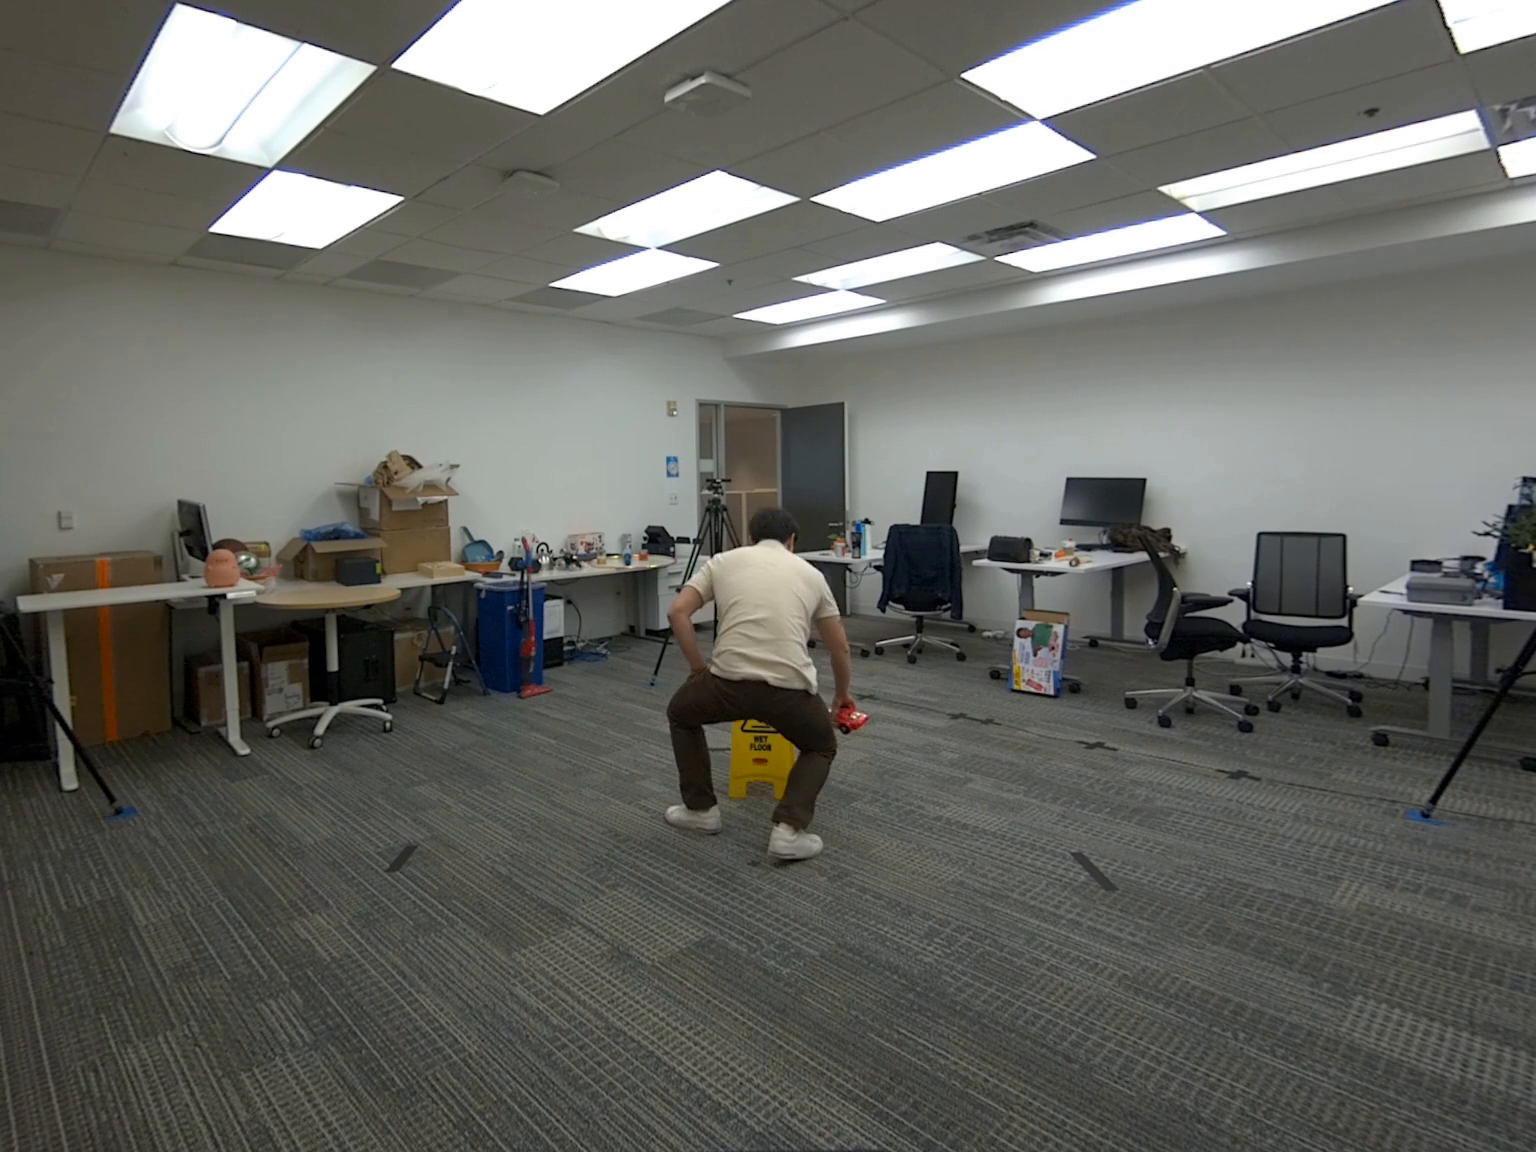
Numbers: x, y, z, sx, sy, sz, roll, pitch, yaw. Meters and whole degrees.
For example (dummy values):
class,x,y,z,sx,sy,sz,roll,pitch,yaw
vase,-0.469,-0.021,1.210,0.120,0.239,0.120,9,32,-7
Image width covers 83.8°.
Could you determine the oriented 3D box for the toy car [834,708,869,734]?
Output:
class,x,y,z,sx,sy,sz,roll,pitch,yaw
toy car,0.307,0.605,3.546,0.260,0.083,0.128,-12,8,46
